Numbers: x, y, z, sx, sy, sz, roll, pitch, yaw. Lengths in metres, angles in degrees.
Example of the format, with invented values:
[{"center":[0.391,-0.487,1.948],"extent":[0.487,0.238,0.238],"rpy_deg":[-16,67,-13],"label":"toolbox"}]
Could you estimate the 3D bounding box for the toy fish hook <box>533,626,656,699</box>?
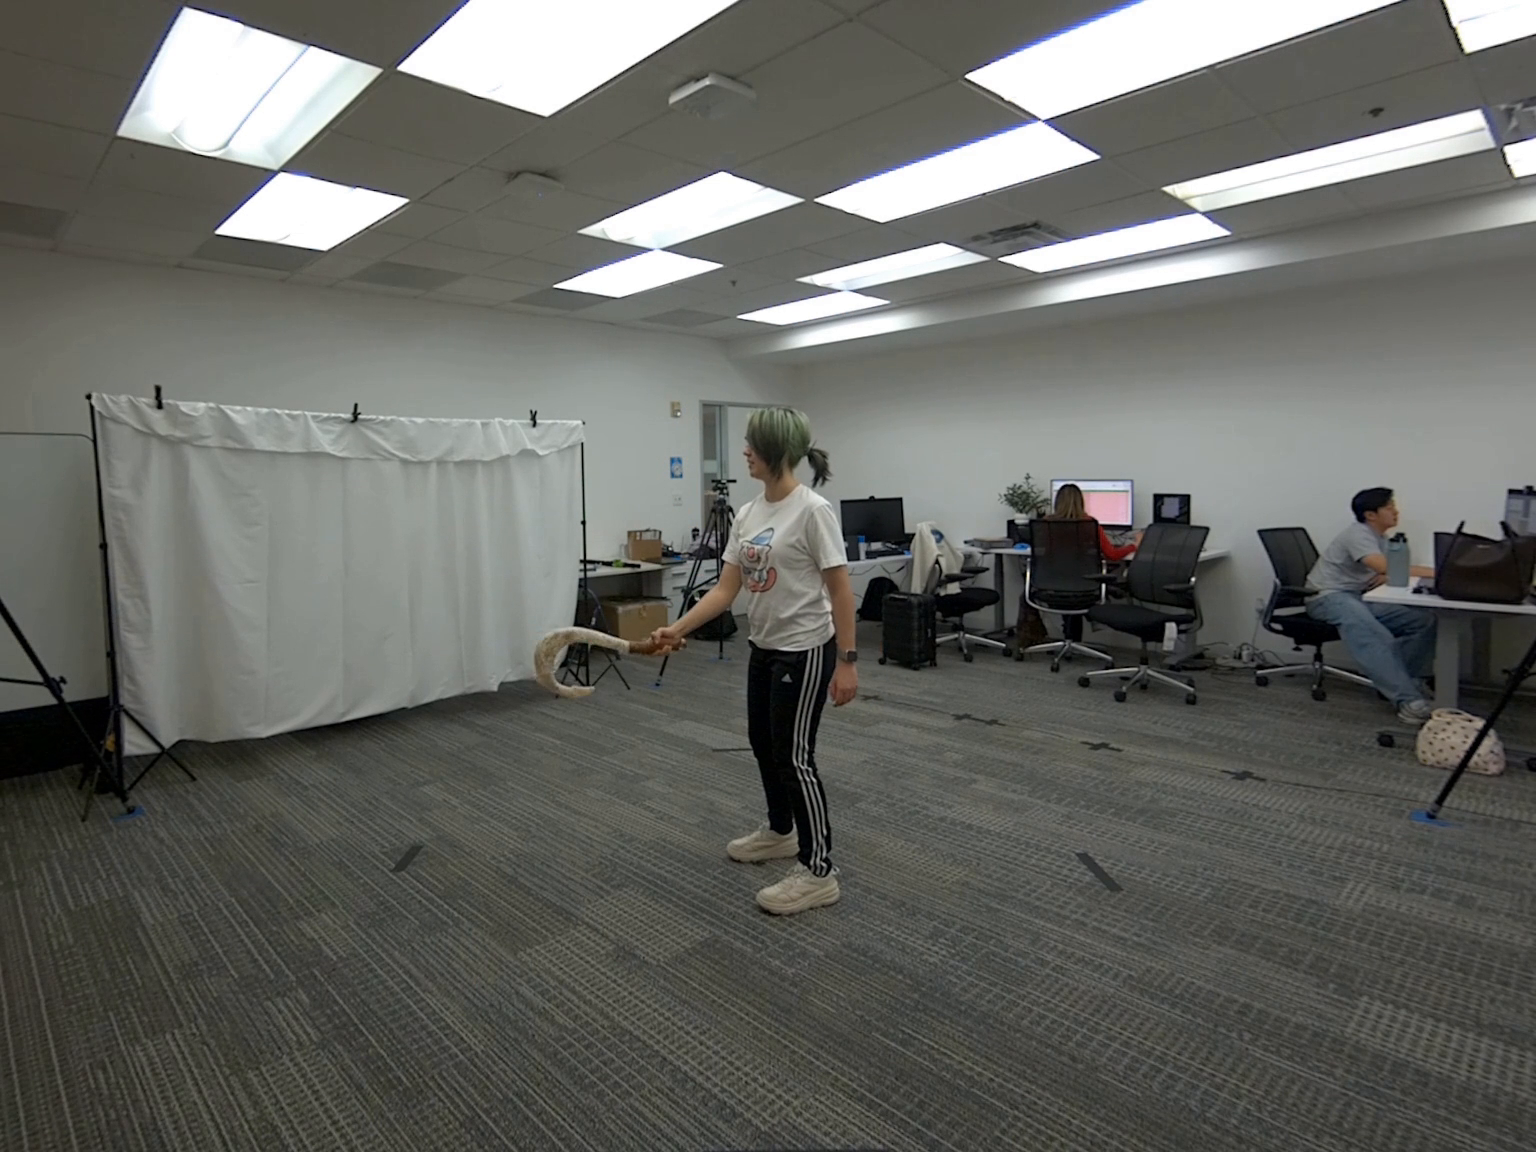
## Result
[{"center":[-0.501,0.253,2.768],"extent":[0.496,0.224,0.049],"rpy_deg":[1,3,-22],"label":"toy fish hook"}]
